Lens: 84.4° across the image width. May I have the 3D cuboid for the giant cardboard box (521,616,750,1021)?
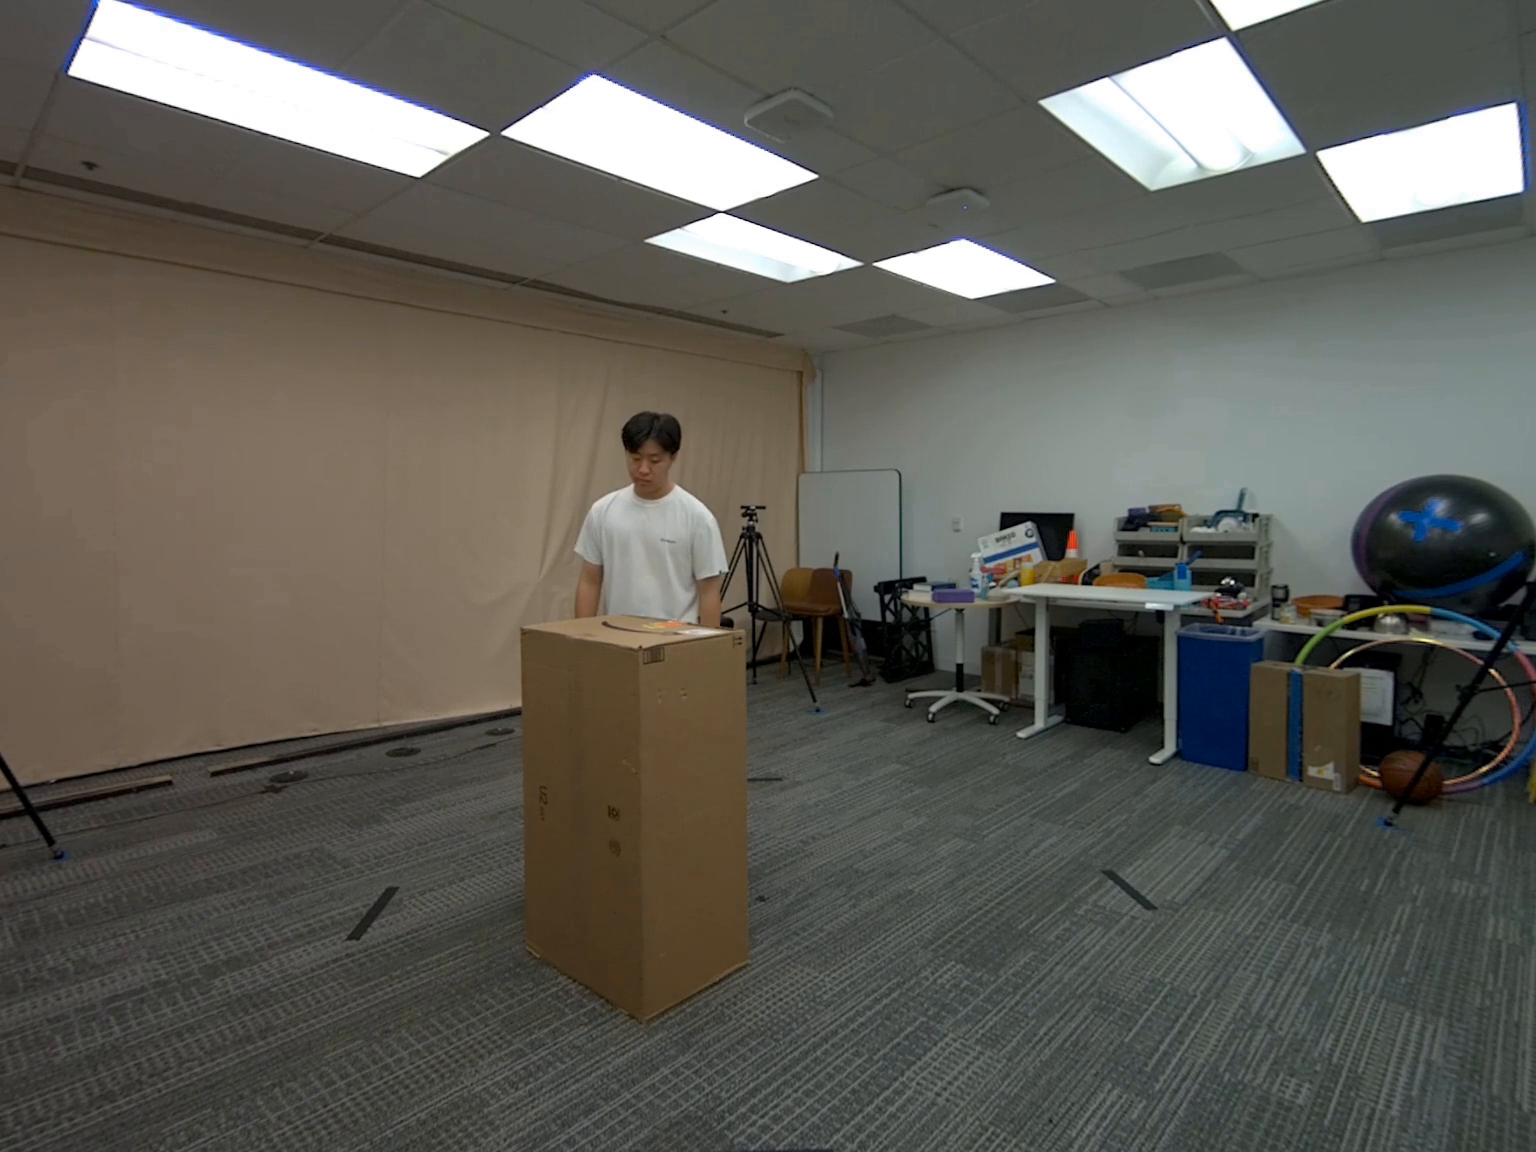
[{"bbox_3d":[-0.406,0.674,2.585,0.596,1.024,0.413,2,3,42],"label":"giant cardboard box"}]
